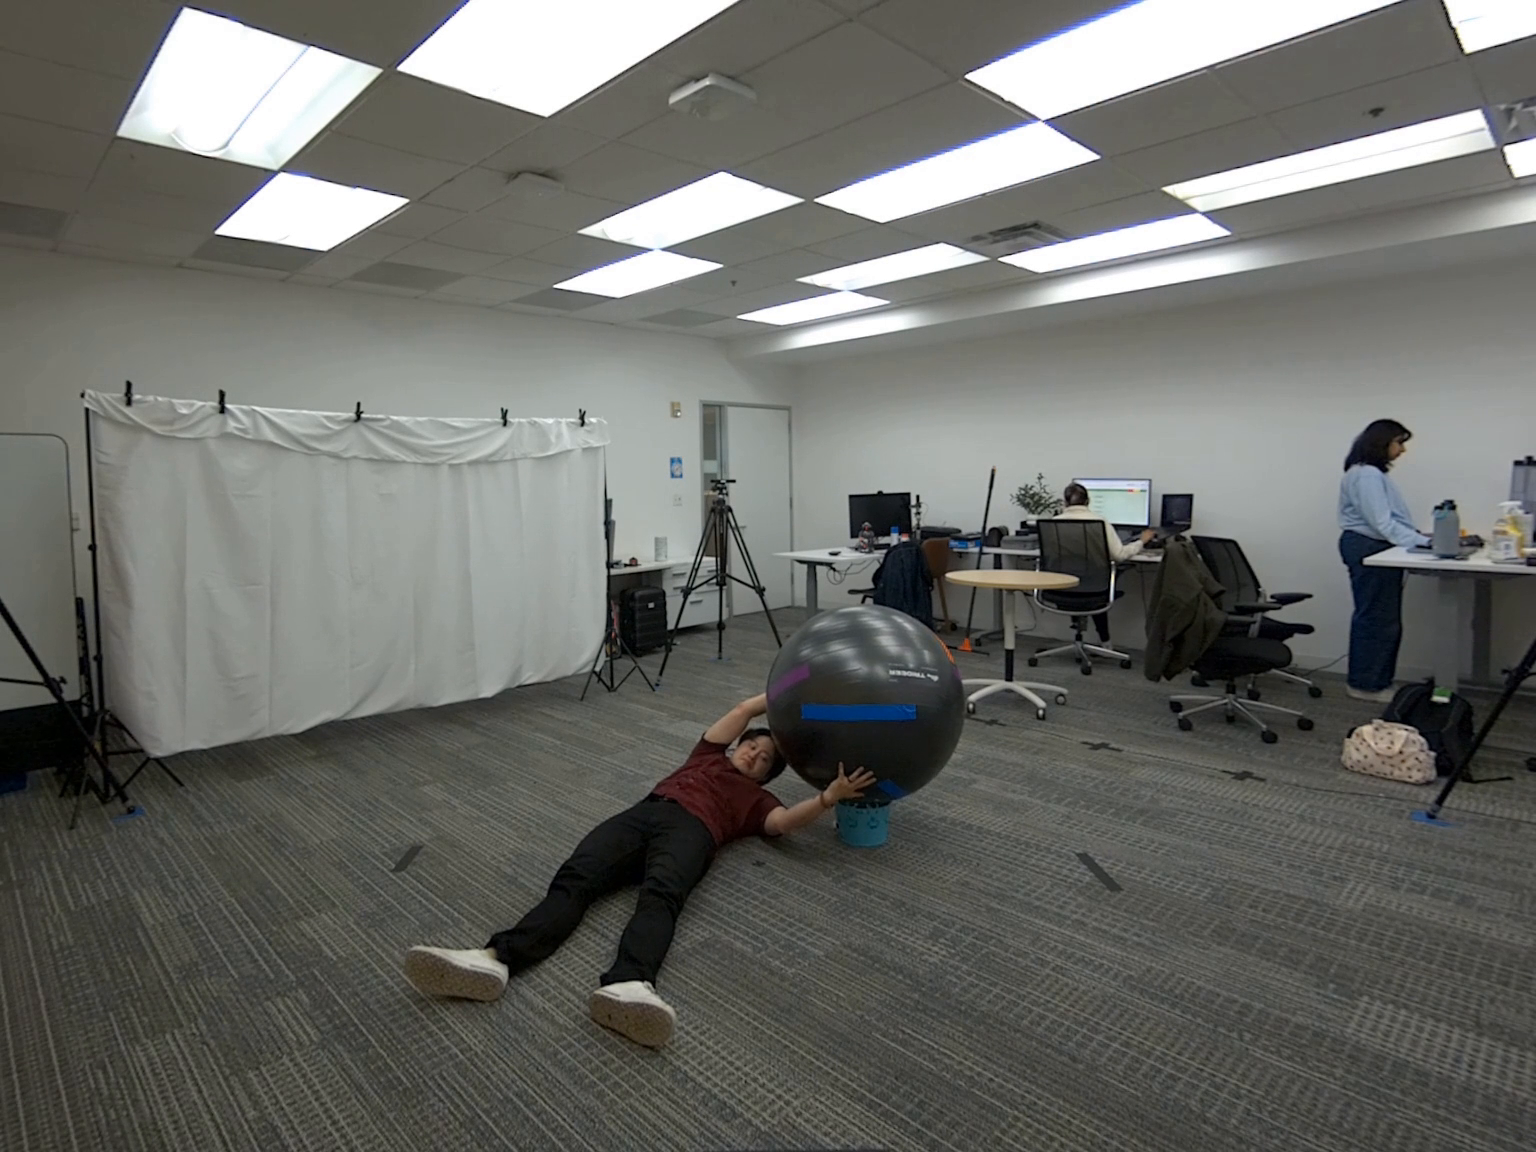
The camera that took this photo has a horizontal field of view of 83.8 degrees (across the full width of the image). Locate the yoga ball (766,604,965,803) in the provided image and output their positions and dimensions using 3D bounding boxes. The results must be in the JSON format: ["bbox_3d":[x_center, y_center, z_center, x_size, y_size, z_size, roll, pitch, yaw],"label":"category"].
[{"bbox_3d":[0.373,0.491,3.321,0.757,0.755,0.762,-1,5,-2],"label":"yoga ball"}]
